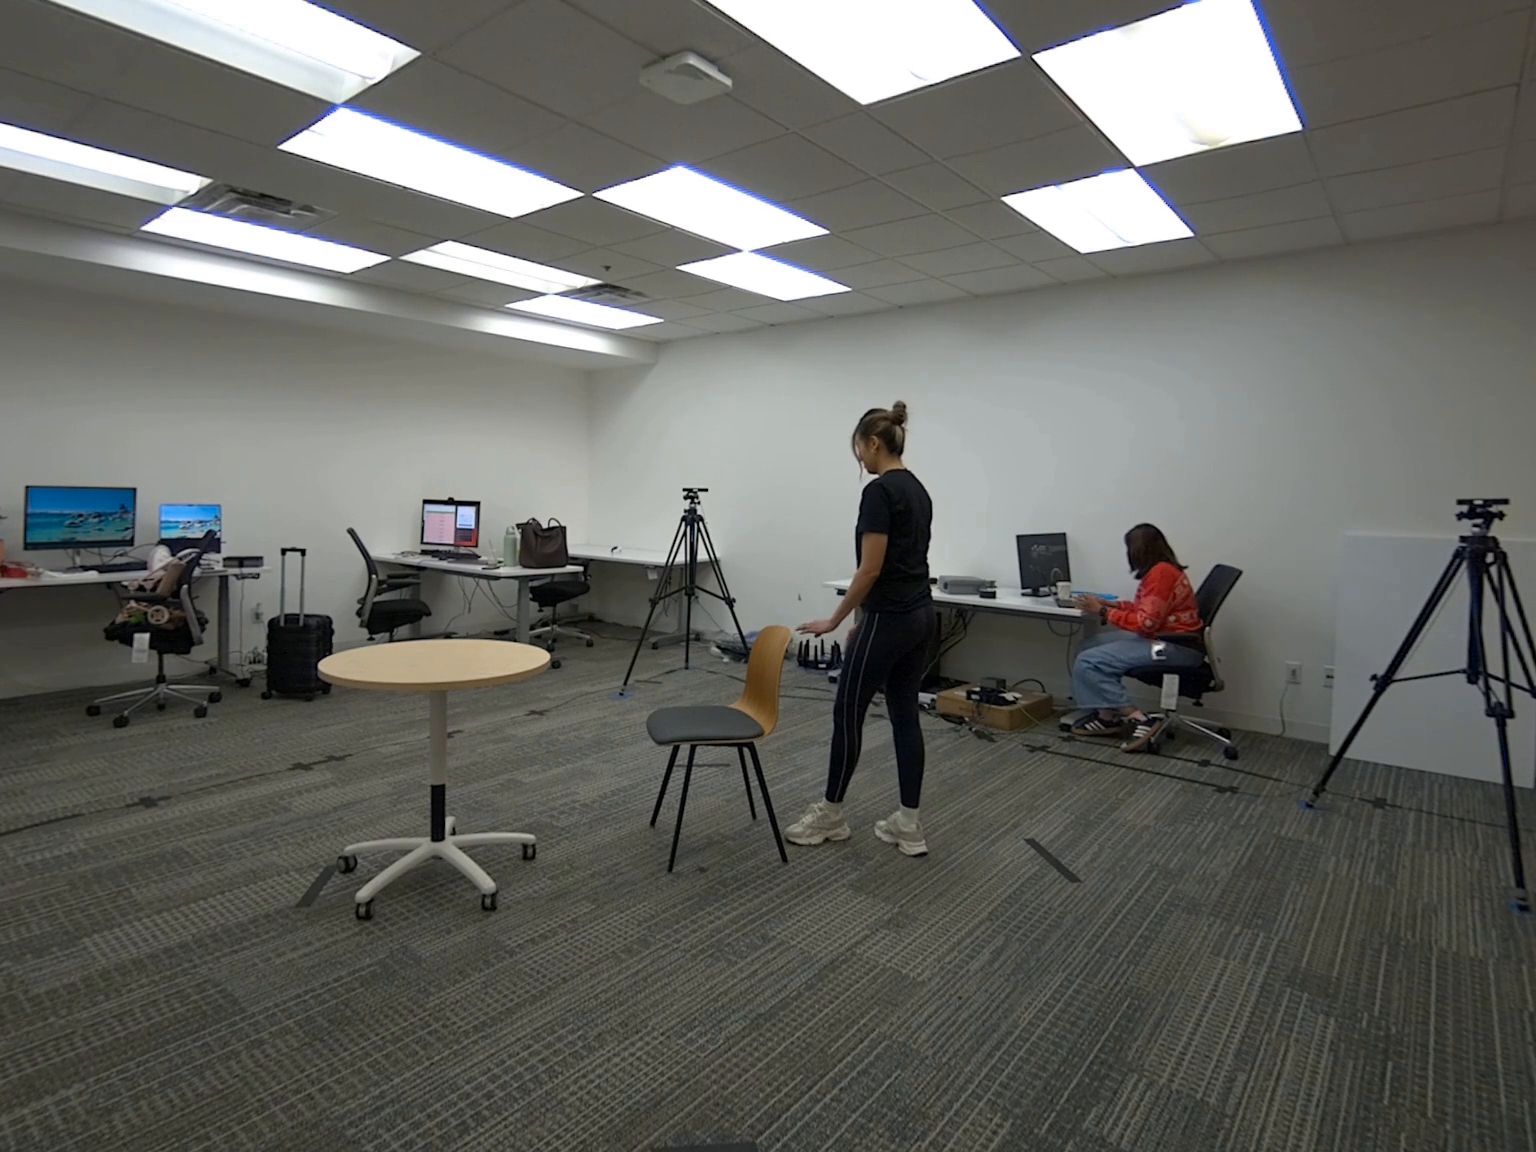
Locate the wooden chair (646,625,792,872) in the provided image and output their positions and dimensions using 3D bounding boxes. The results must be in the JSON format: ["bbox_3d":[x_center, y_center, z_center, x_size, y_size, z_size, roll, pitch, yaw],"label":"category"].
[{"bbox_3d":[-0.215,0.625,3.309,0.514,0.875,0.488,4,3,-16],"label":"wooden chair"}]
